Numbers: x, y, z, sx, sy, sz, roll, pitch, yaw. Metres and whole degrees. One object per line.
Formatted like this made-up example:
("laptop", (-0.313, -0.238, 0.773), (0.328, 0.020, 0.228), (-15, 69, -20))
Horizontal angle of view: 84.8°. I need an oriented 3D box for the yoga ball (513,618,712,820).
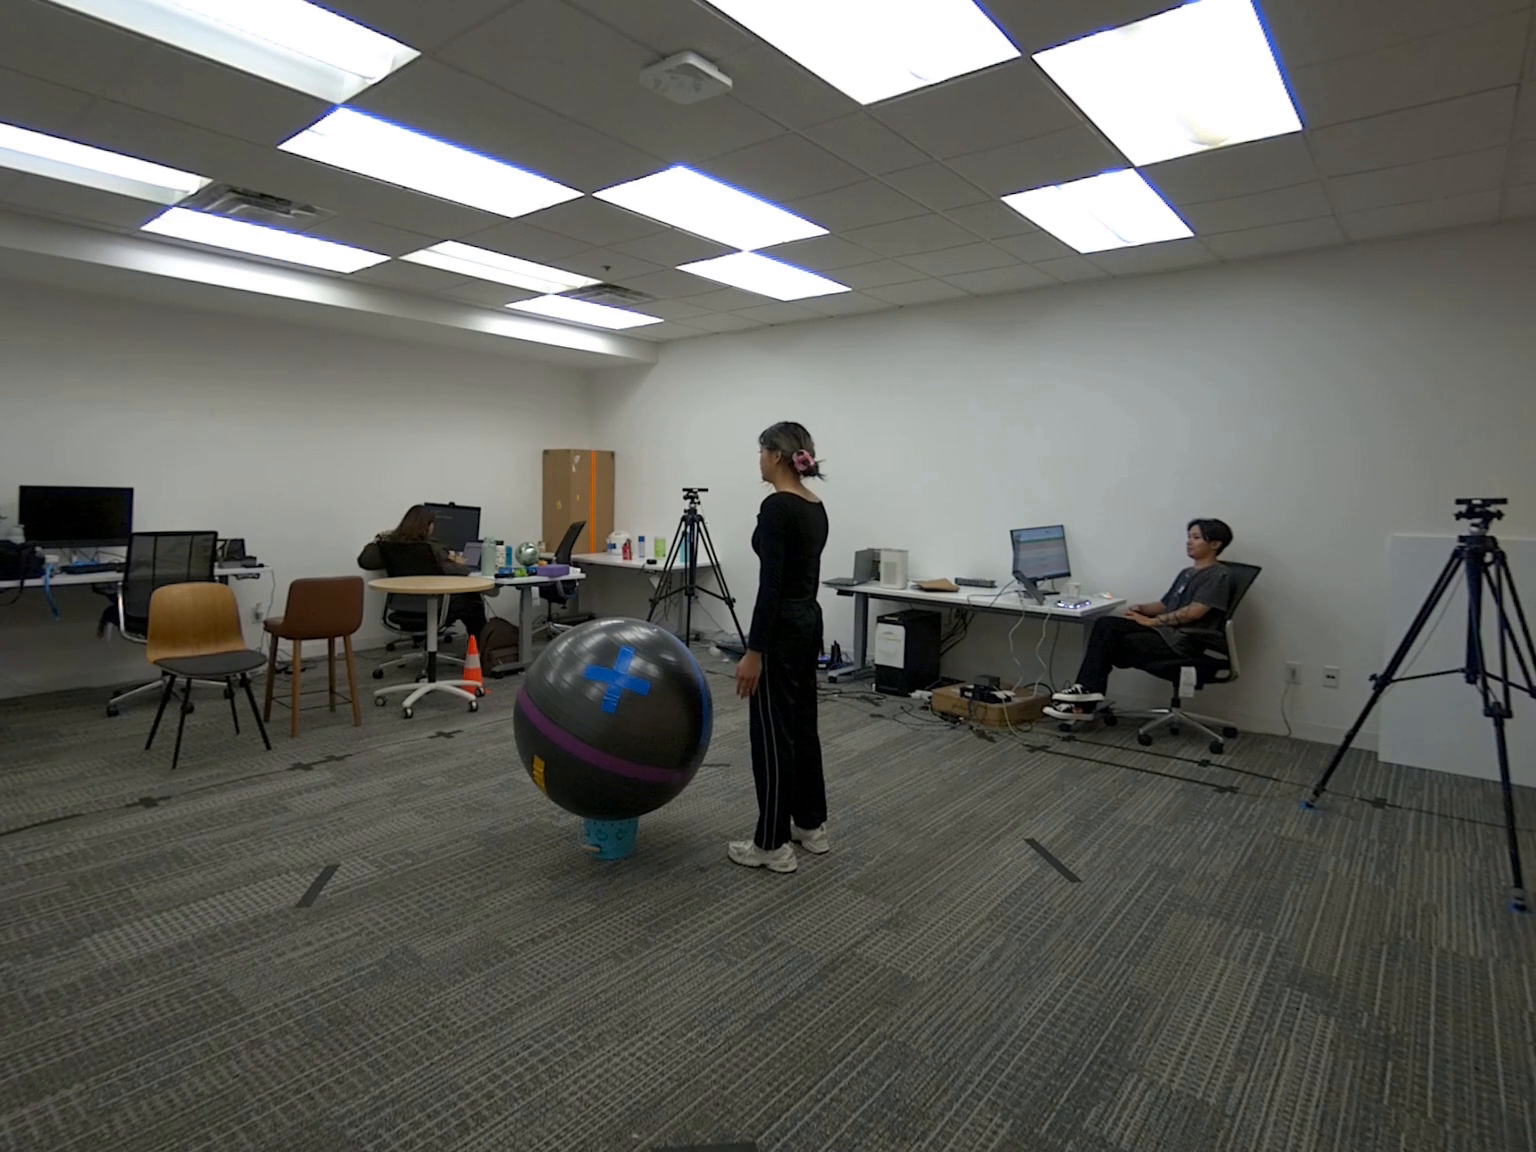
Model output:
("yoga ball", (-0.604, 0.540, 3.257), (0.757, 0.755, 0.762), (1, 4, -2))
